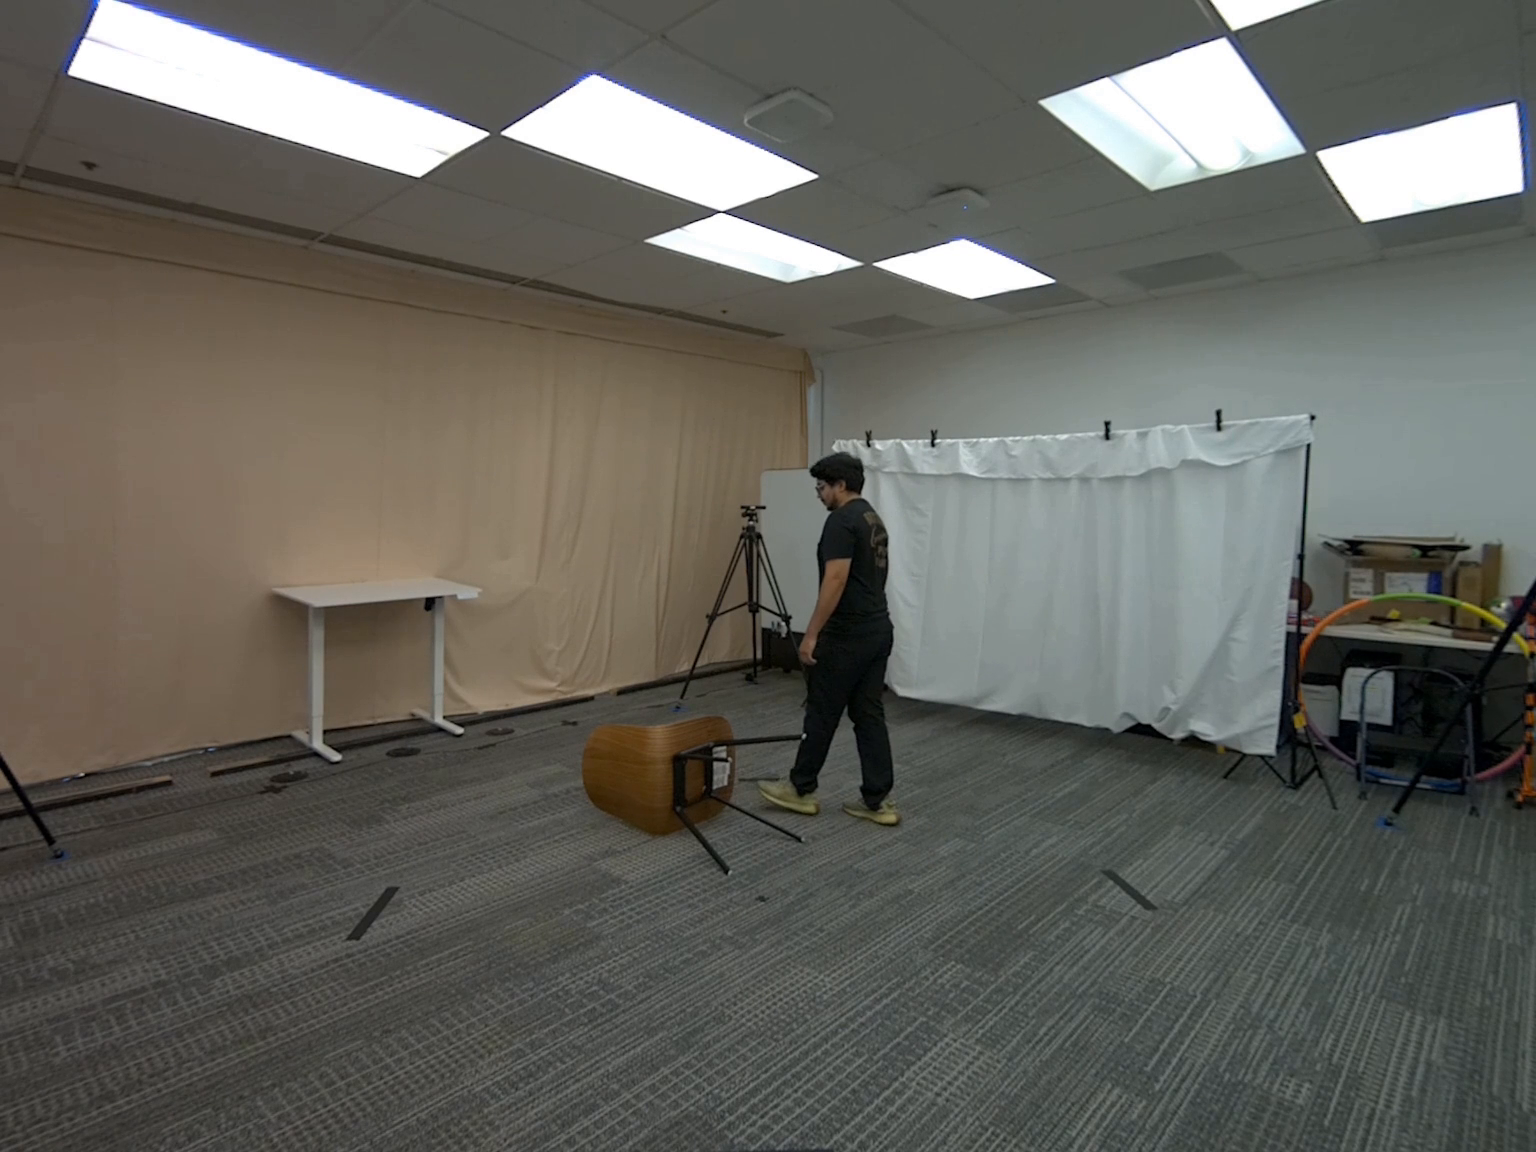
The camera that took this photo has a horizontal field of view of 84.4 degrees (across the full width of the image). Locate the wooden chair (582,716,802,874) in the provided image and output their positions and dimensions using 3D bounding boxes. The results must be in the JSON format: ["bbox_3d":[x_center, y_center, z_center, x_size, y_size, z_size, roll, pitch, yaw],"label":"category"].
[{"bbox_3d":[-0.318,0.864,3.613,0.906,0.477,0.508,3,5,38],"label":"wooden chair"}]
